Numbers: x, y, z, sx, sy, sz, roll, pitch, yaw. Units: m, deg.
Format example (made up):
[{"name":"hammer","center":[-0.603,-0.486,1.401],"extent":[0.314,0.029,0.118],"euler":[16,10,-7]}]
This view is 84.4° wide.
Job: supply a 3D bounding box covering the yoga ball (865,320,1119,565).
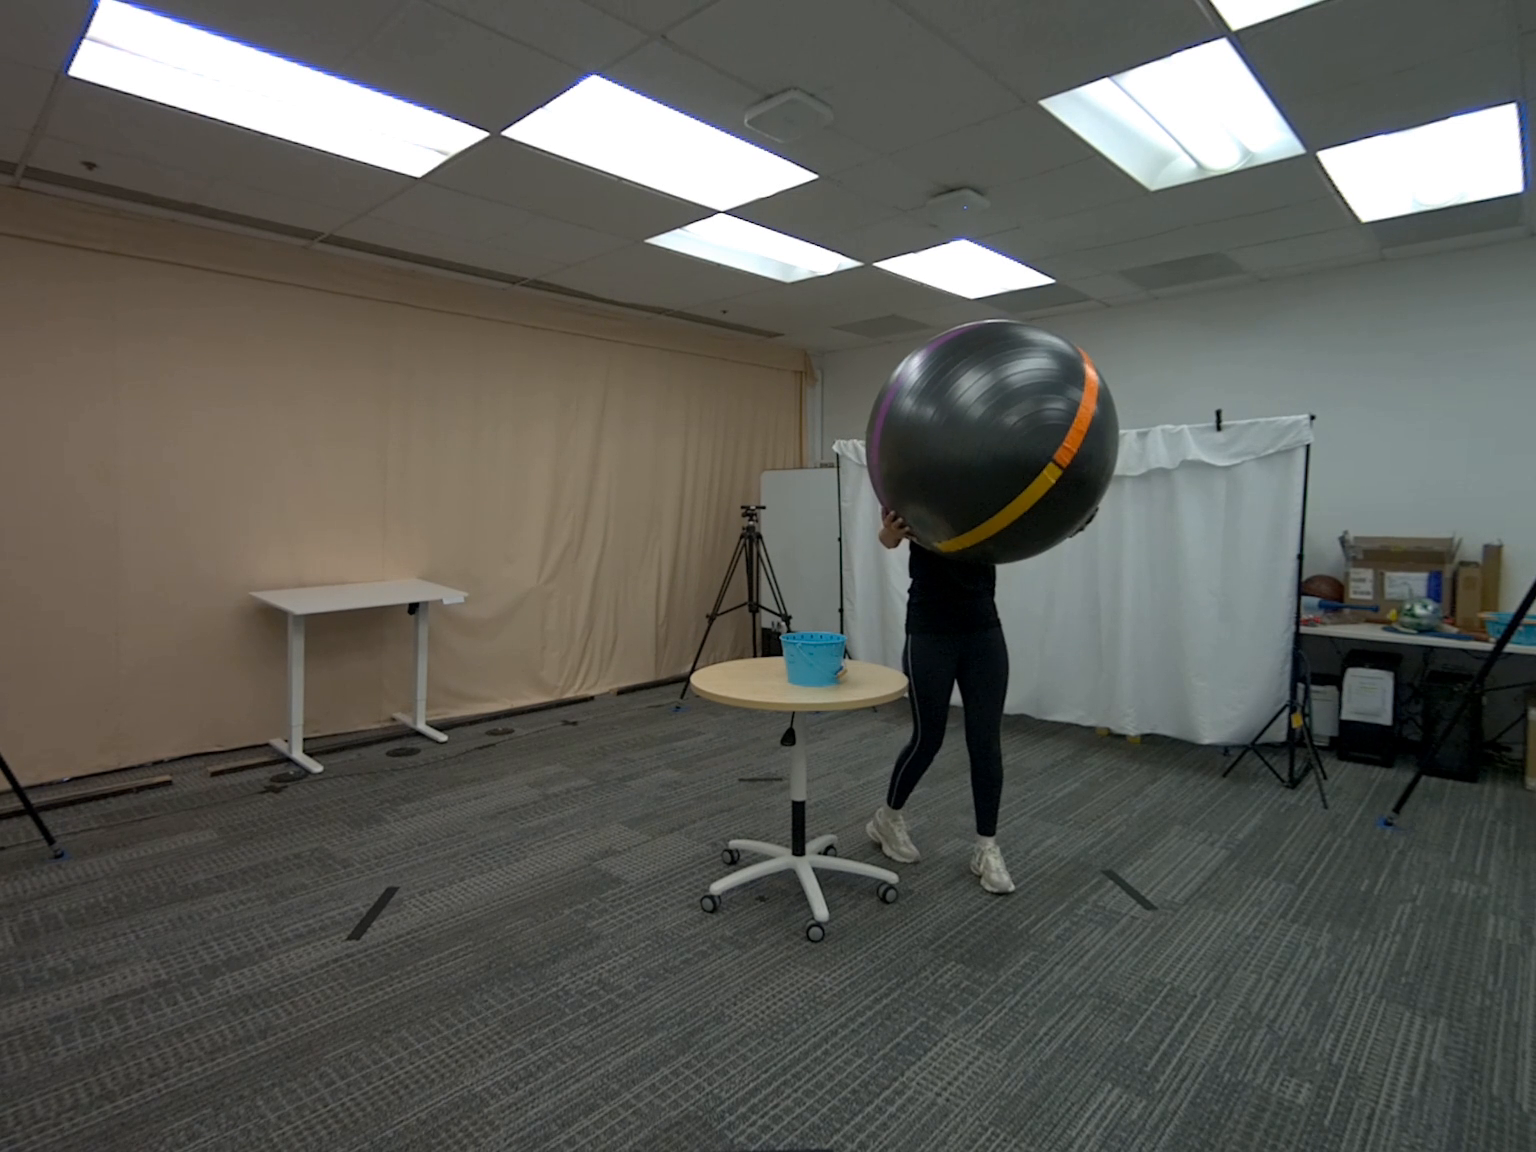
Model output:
[{"name":"yoga ball","center":[0.702,-0.408,2.657],"extent":[0.757,0.756,0.761],"euler":[0,4,-2]}]
